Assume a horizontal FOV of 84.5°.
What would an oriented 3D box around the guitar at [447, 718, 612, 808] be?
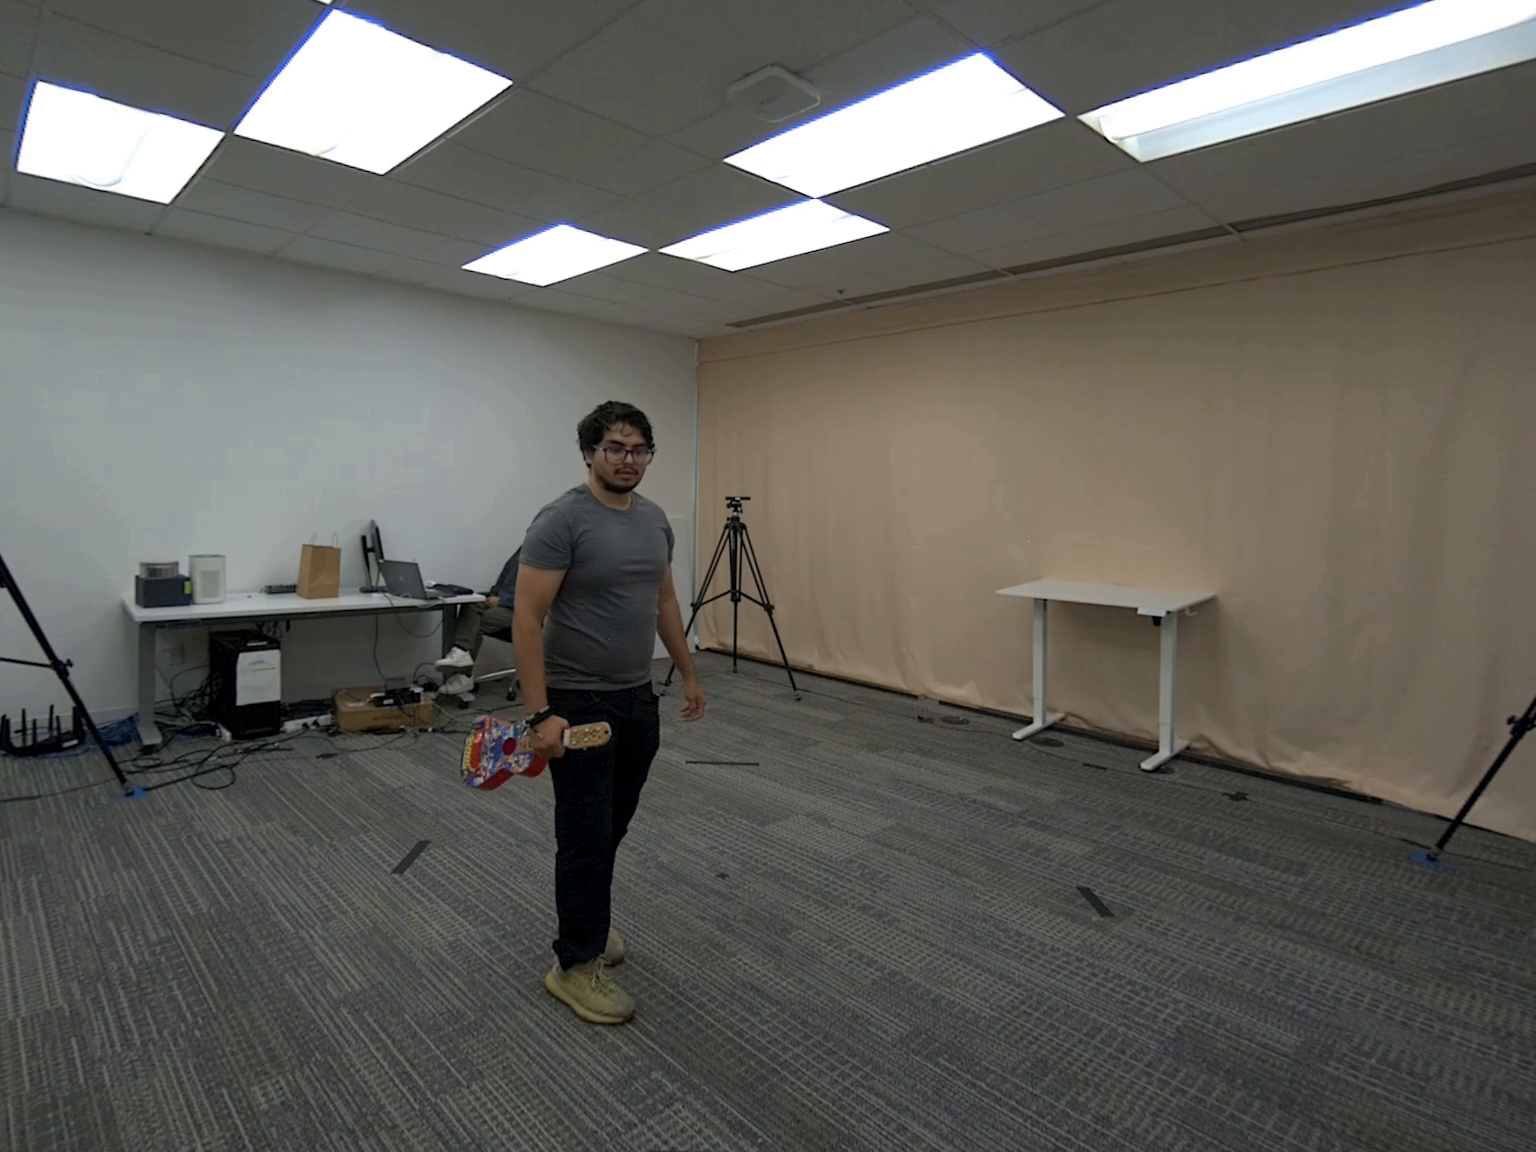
[{"bbox_3d":[-0.615,0.483,2.182,0.508,0.195,0.068,-3,-21,33],"label":"guitar"}]
